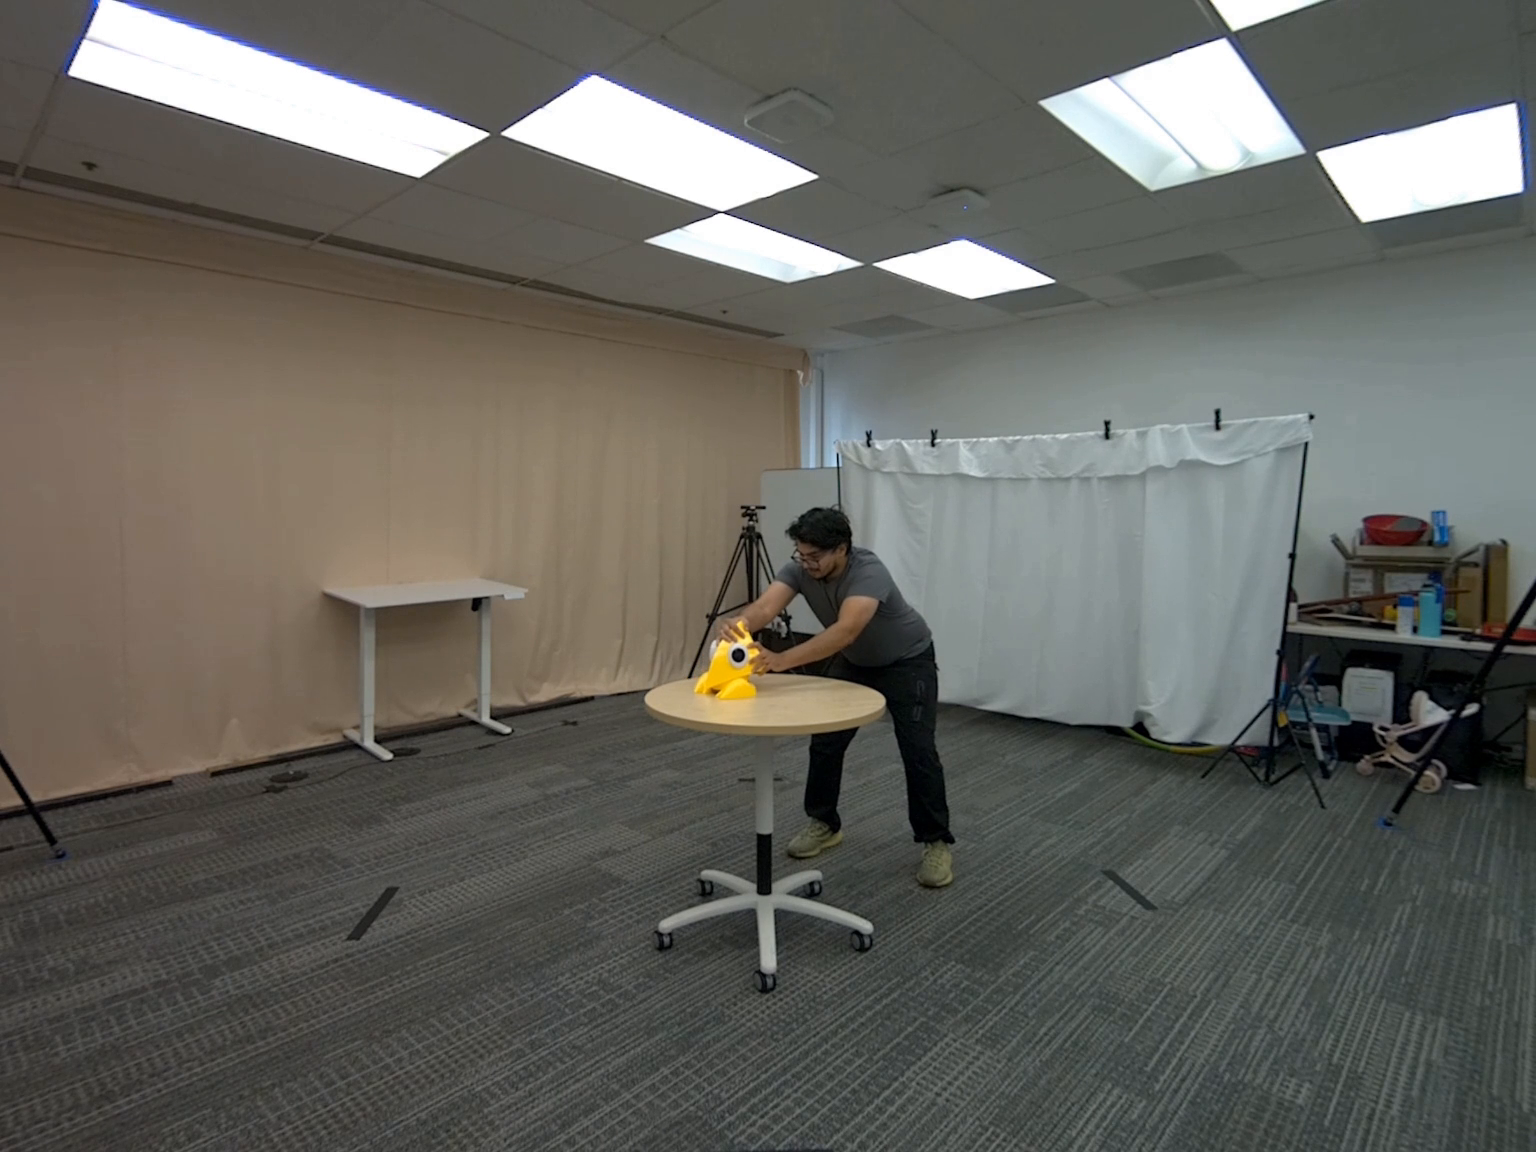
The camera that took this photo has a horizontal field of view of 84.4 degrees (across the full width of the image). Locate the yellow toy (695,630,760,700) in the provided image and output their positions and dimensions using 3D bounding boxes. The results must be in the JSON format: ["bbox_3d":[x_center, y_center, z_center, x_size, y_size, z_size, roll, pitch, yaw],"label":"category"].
[{"bbox_3d":[-0.131,0.271,2.757,0.187,0.230,0.211,-4,5,-42],"label":"yellow toy"}]
